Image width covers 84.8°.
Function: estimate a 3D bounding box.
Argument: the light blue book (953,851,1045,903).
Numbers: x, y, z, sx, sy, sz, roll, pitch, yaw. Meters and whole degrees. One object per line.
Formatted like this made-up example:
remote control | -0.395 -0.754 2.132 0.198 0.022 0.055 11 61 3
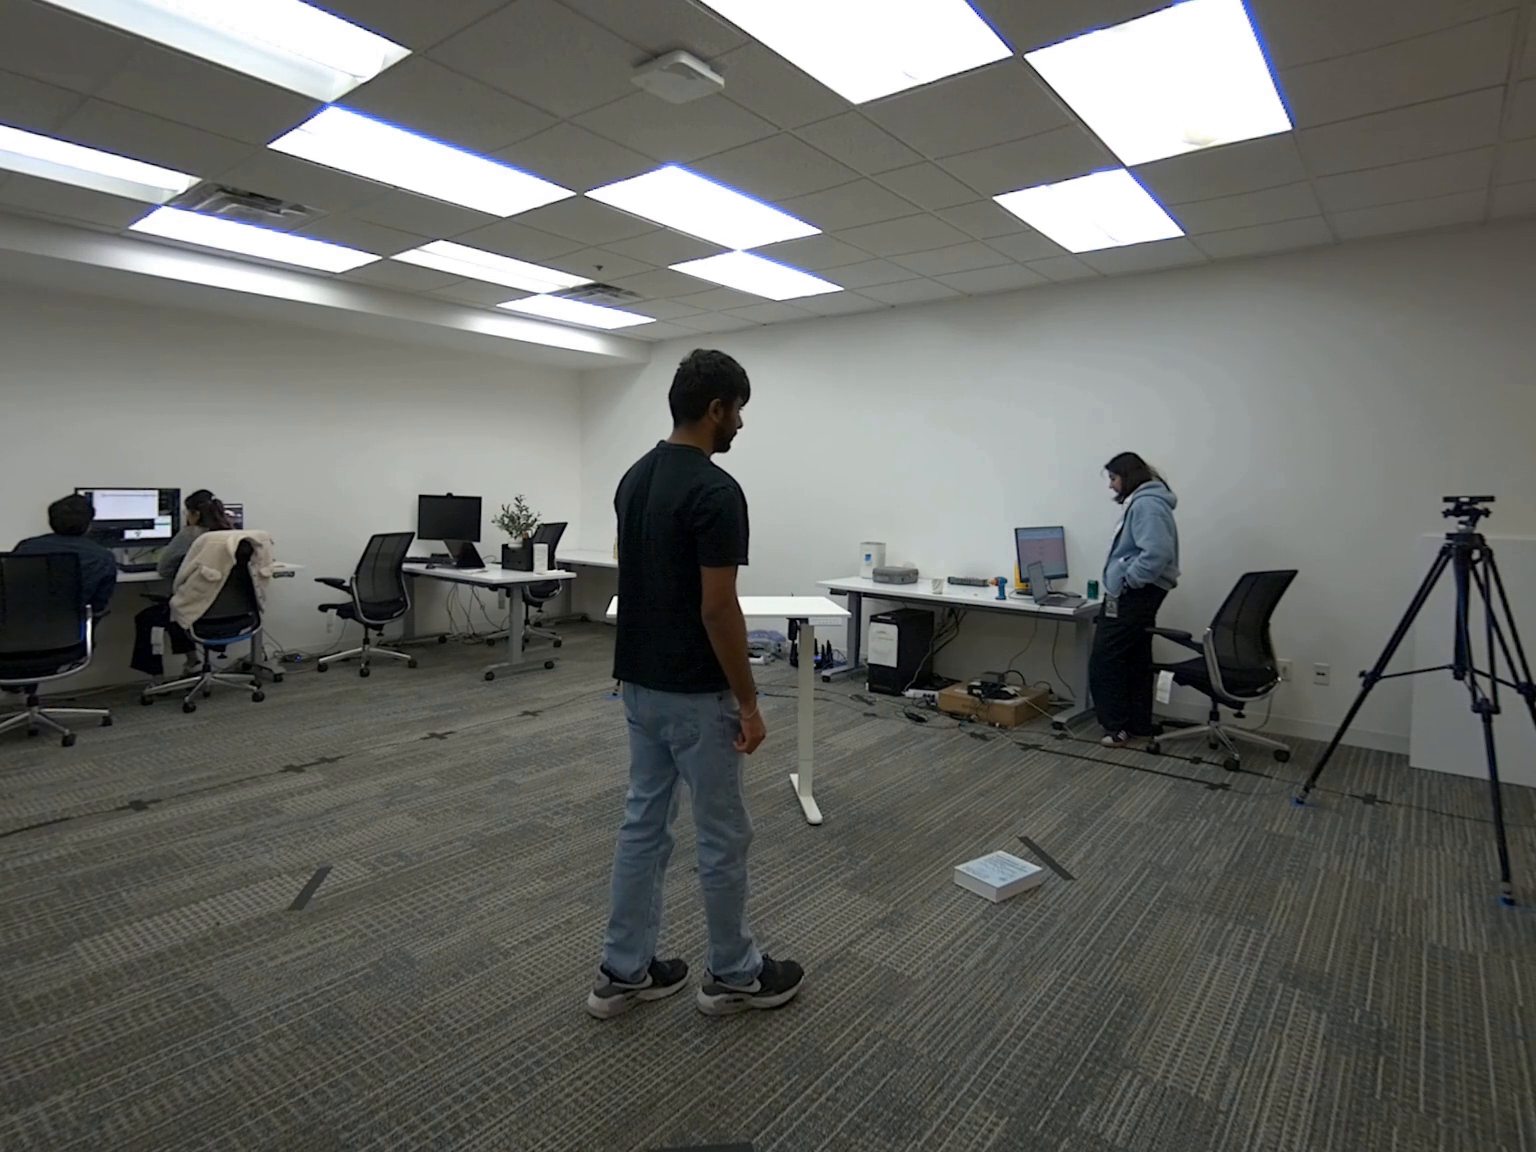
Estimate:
light blue book | 0.818 1.065 3.045 0.253 0.059 0.198 -4 8 -37
